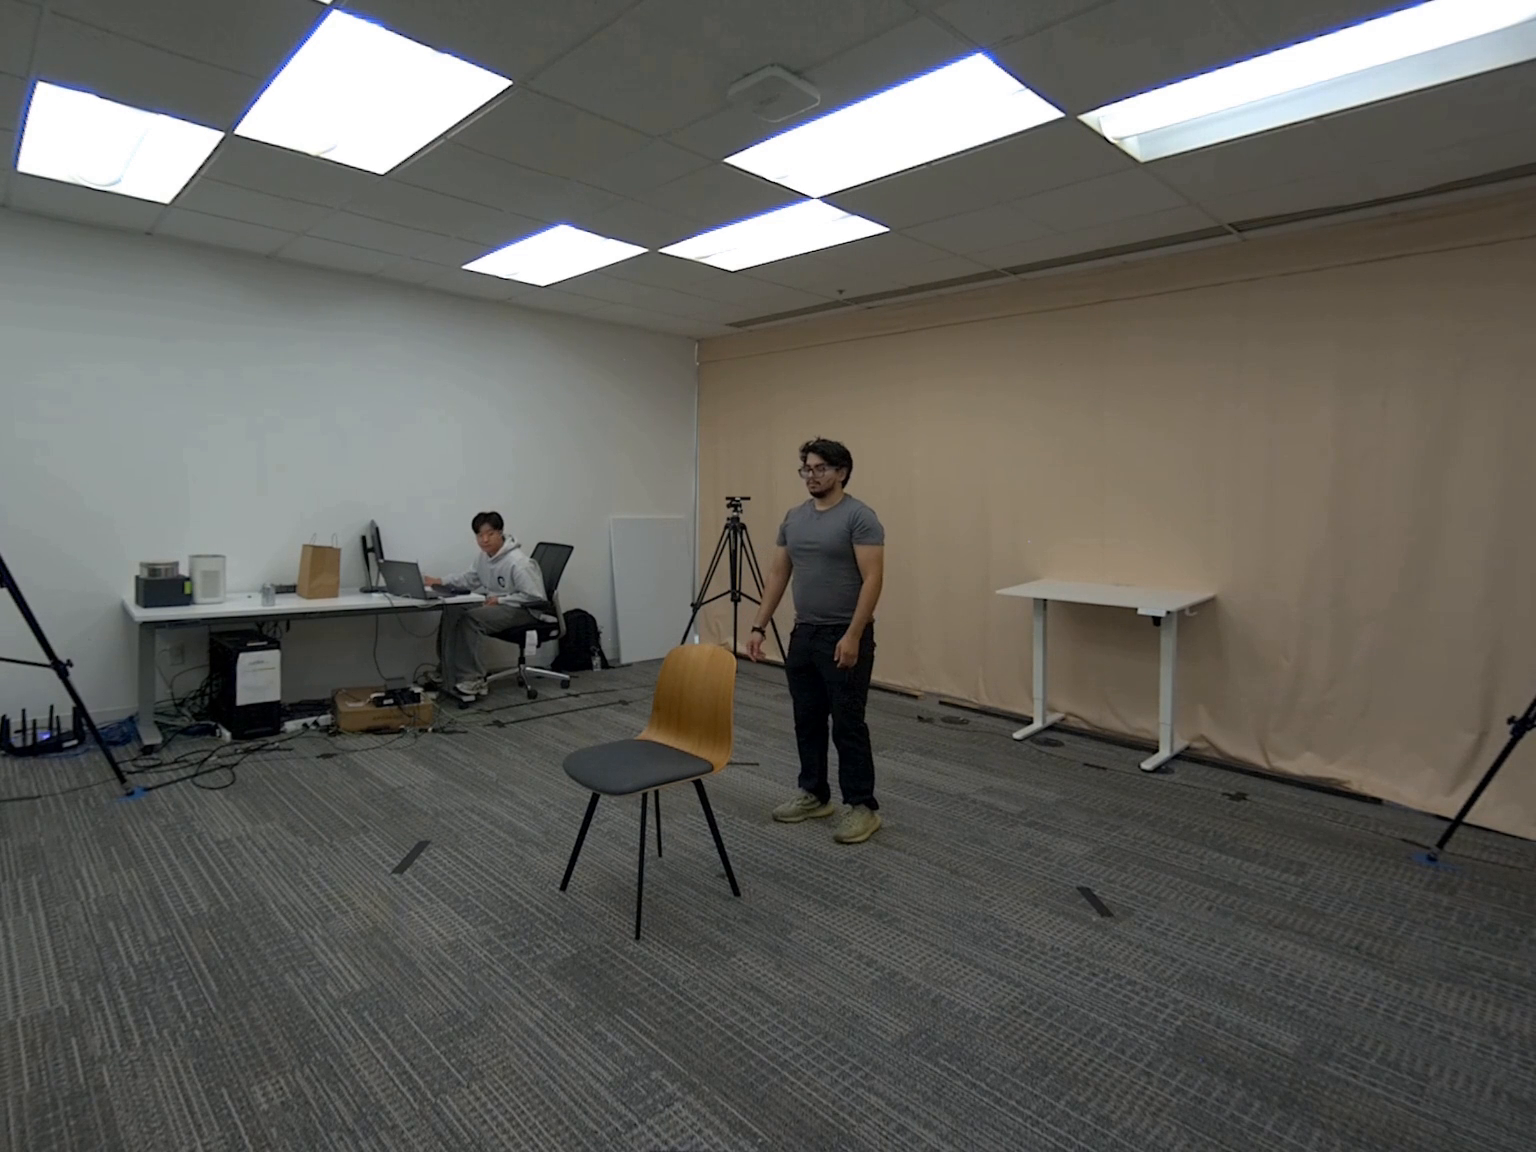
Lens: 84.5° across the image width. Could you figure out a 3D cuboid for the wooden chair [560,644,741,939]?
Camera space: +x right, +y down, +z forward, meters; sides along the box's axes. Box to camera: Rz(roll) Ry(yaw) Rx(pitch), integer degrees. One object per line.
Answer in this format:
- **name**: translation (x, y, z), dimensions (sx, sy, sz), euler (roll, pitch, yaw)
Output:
- **wooden chair**: translation (-0.414, 0.692, 2.914), dimensions (0.510, 0.877, 0.490), euler (4, 1, -45)
